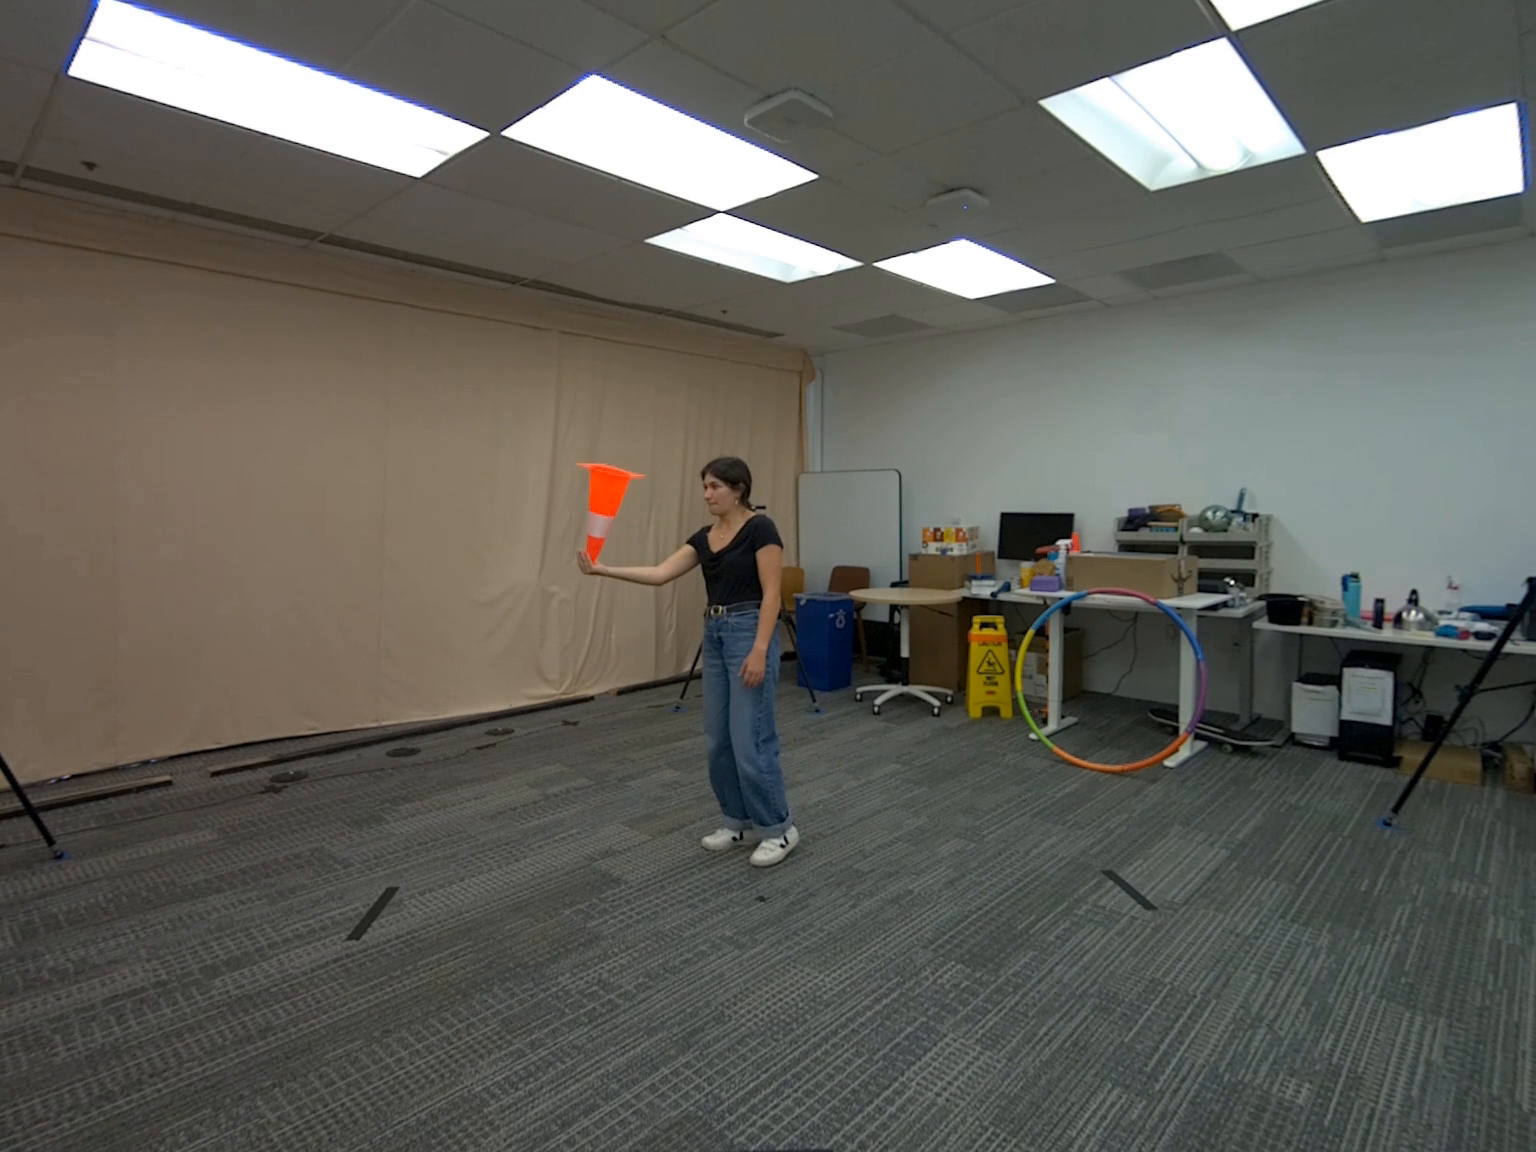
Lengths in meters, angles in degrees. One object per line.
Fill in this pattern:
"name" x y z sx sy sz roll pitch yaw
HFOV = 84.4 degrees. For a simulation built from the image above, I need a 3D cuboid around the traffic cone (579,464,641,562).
"traffic cone" -0.624 -0.204 3.174 0.209 0.383 0.199 16 7 26
